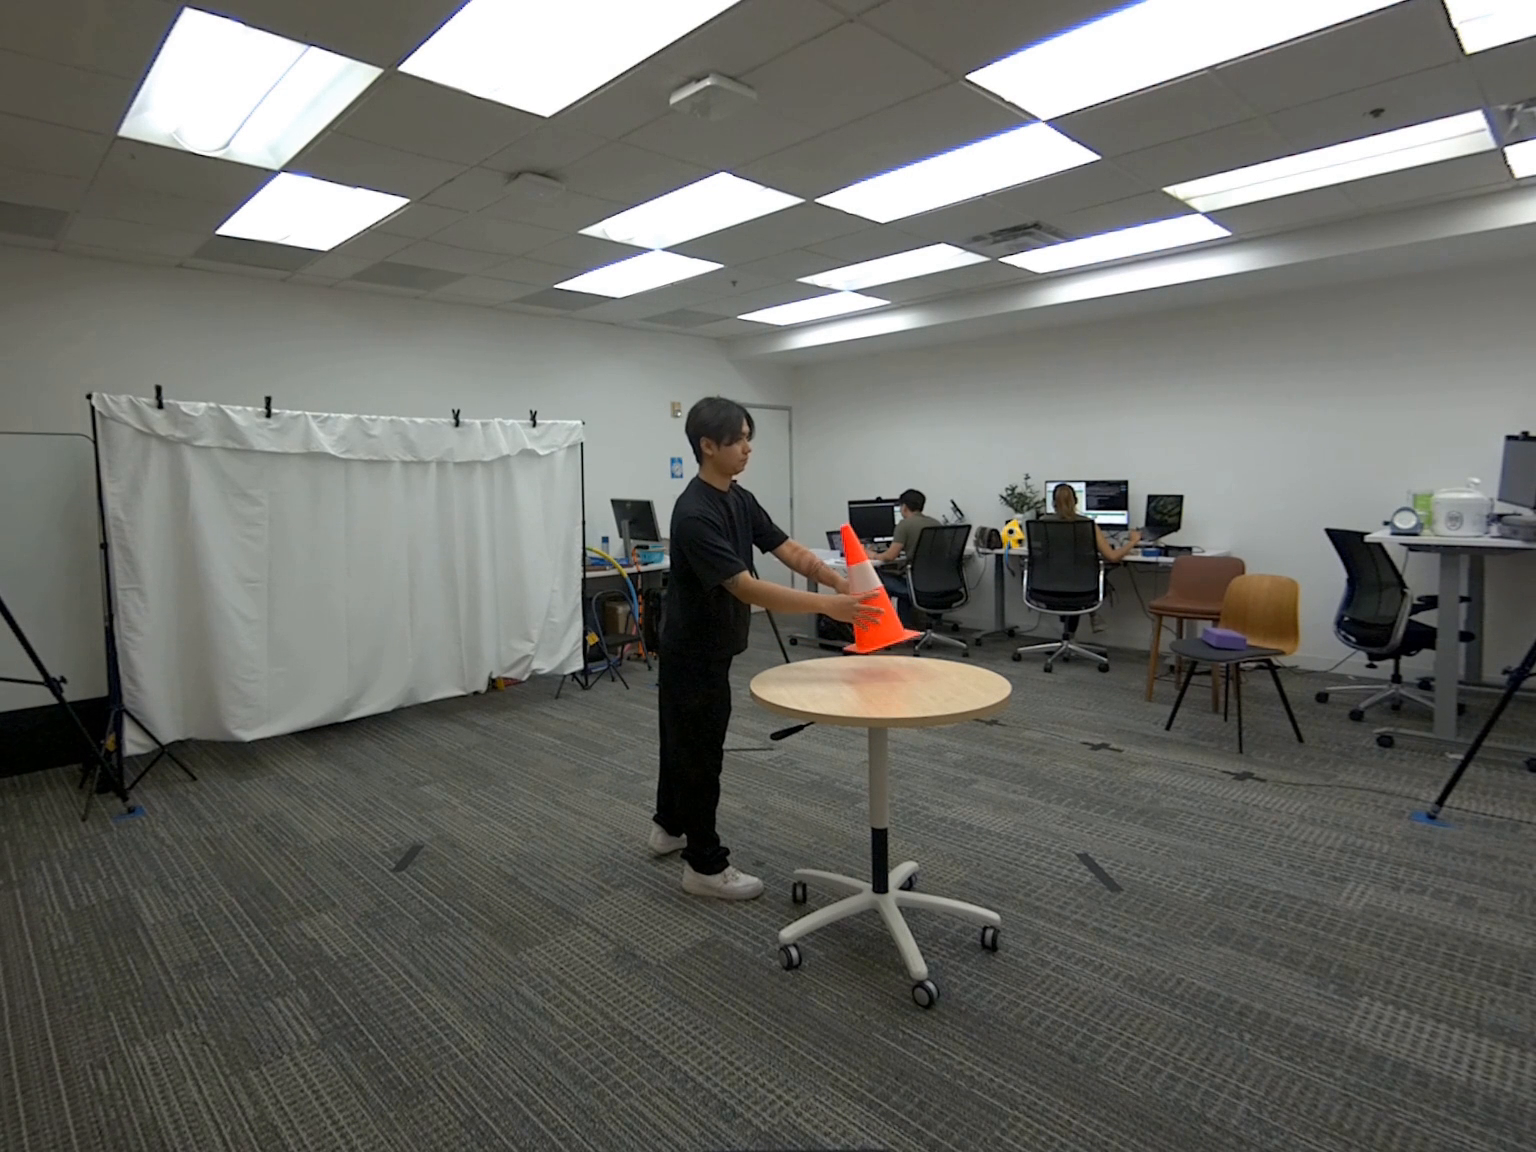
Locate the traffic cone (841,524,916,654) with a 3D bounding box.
[{"bbox_3d":[0.297,0.021,2.665,0.203,0.384,0.205,-17,0,-11],"label":"traffic cone"}]
